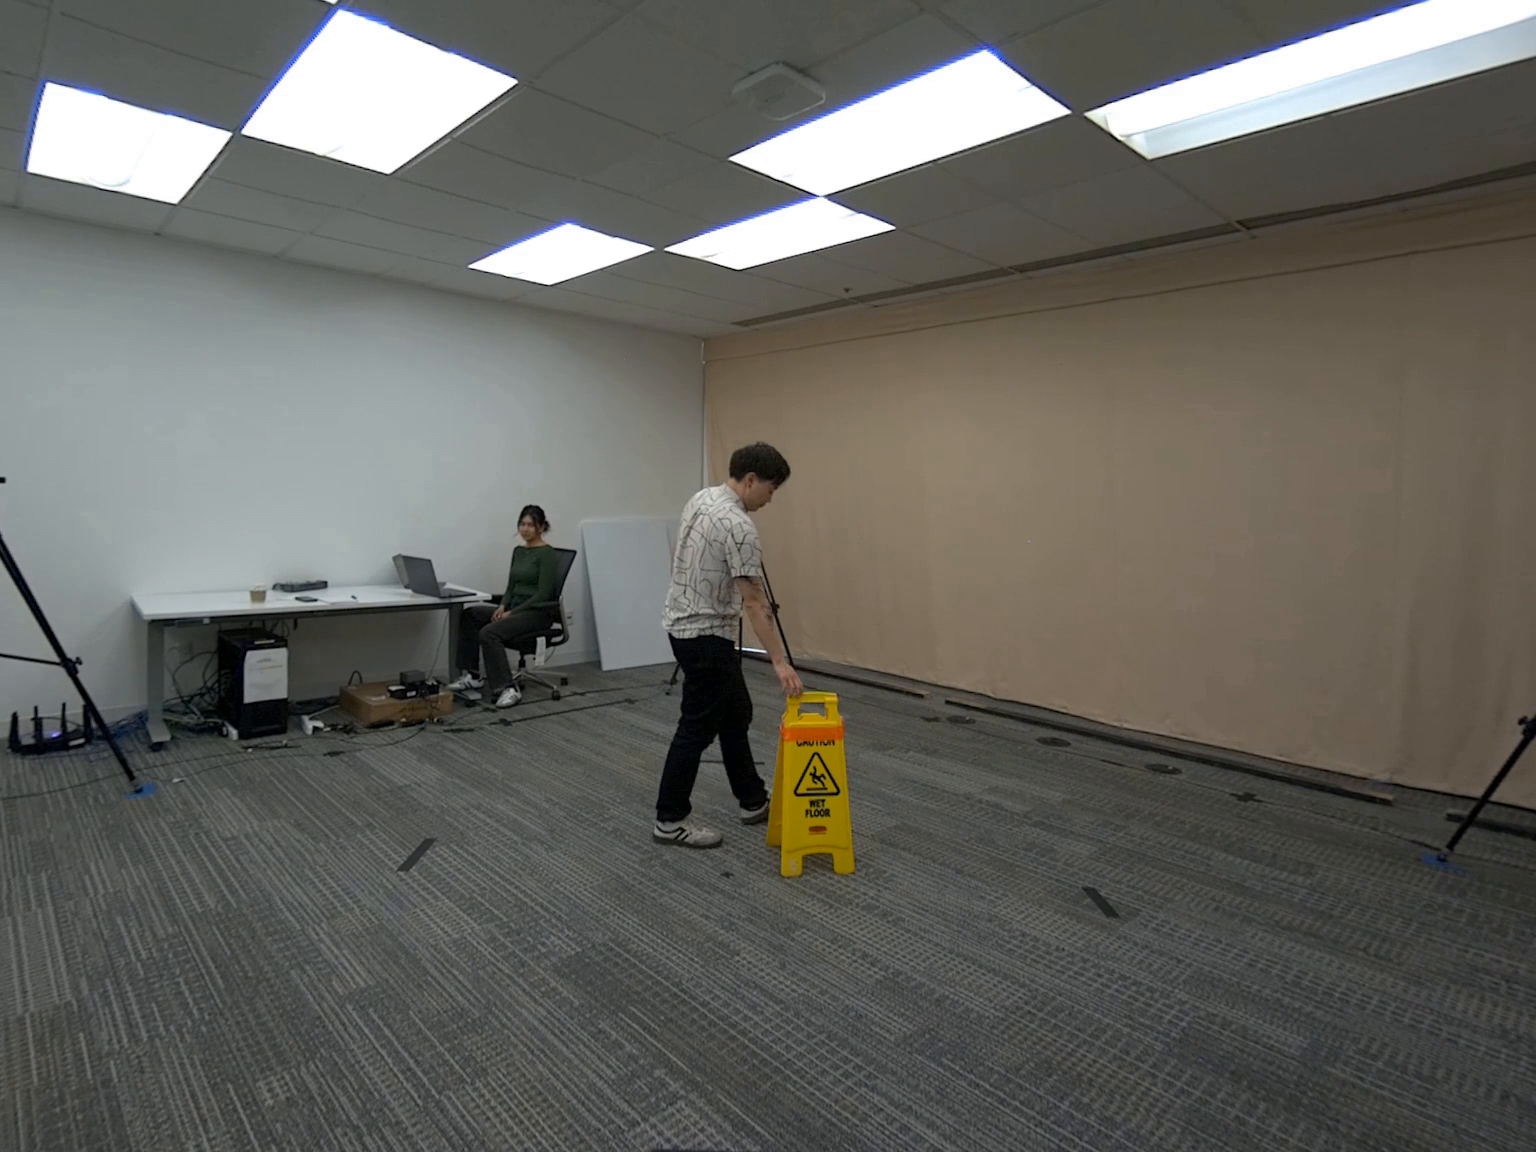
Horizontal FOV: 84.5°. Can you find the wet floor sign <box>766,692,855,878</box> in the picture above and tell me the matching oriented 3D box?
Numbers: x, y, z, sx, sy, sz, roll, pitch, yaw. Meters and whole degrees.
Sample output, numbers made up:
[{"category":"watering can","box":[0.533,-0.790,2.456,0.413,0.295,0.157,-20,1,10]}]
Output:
[{"category":"wet floor sign","box":[0.159,0.768,3.245,0.280,0.645,0.293,2,2,-11]}]
